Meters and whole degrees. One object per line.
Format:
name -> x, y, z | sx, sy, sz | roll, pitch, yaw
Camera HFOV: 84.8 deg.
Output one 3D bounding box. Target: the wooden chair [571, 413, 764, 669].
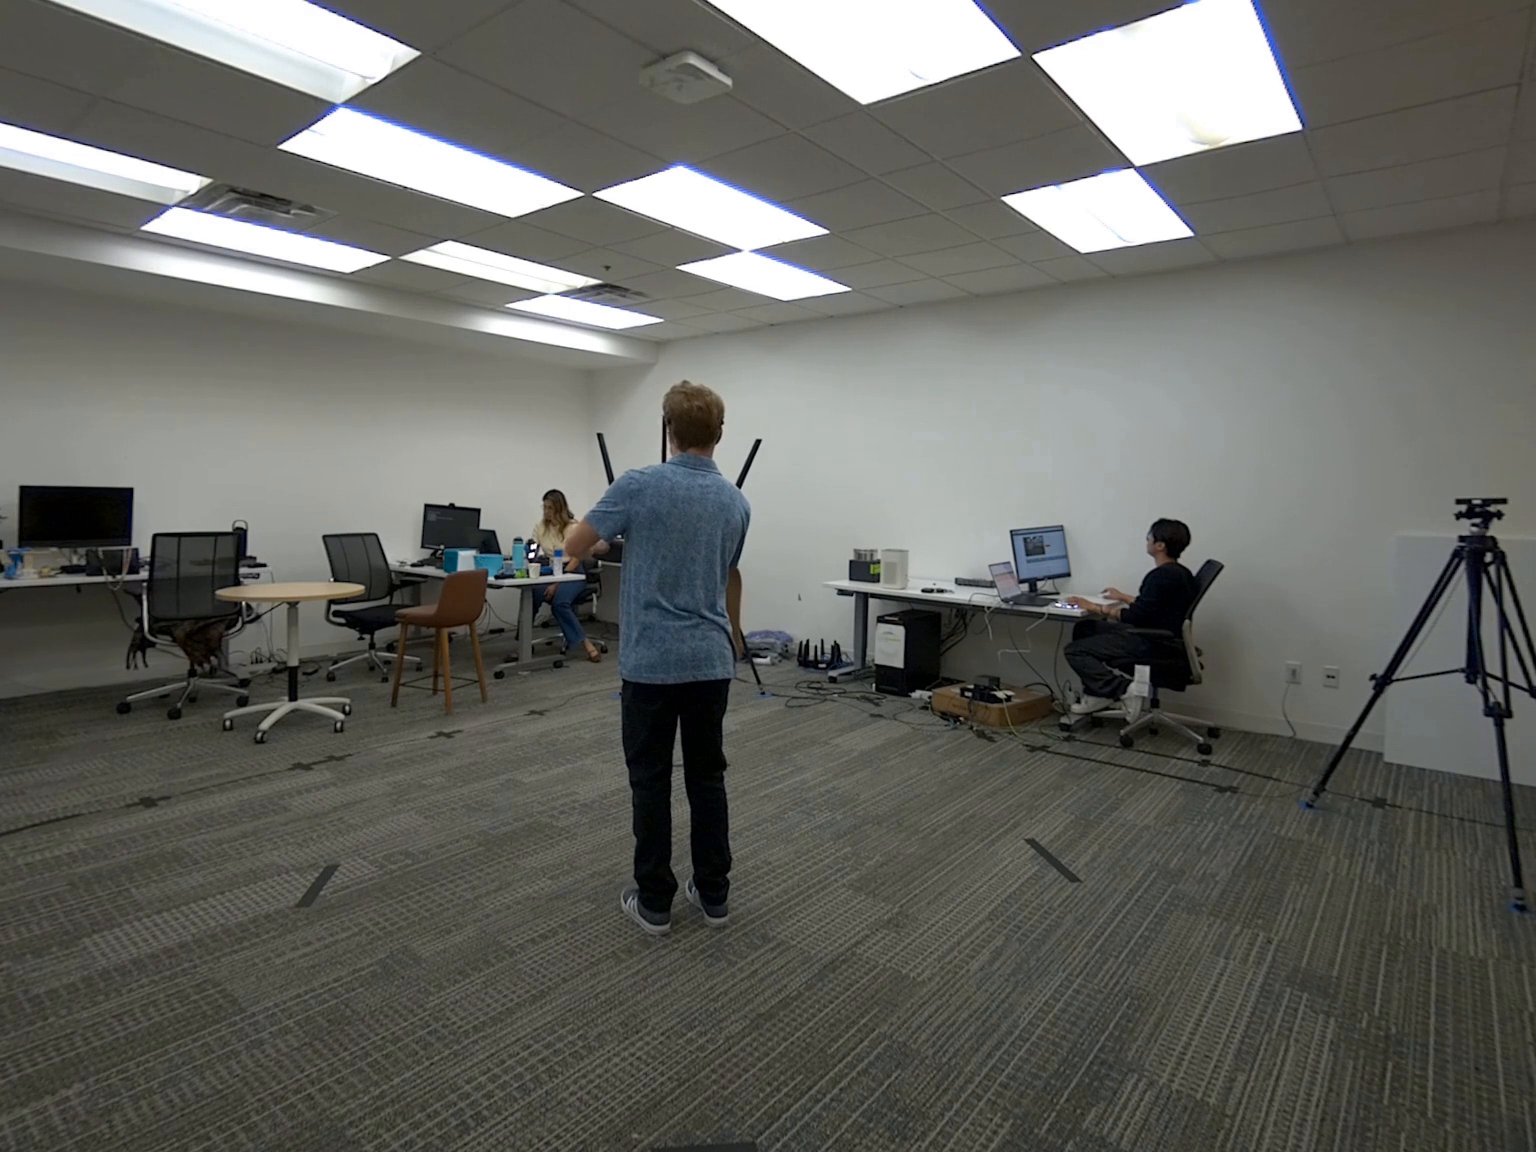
wooden chair -> -0.382, -0.112, 3.197 | 0.506, 0.880, 0.492 | 4, -4, -41
